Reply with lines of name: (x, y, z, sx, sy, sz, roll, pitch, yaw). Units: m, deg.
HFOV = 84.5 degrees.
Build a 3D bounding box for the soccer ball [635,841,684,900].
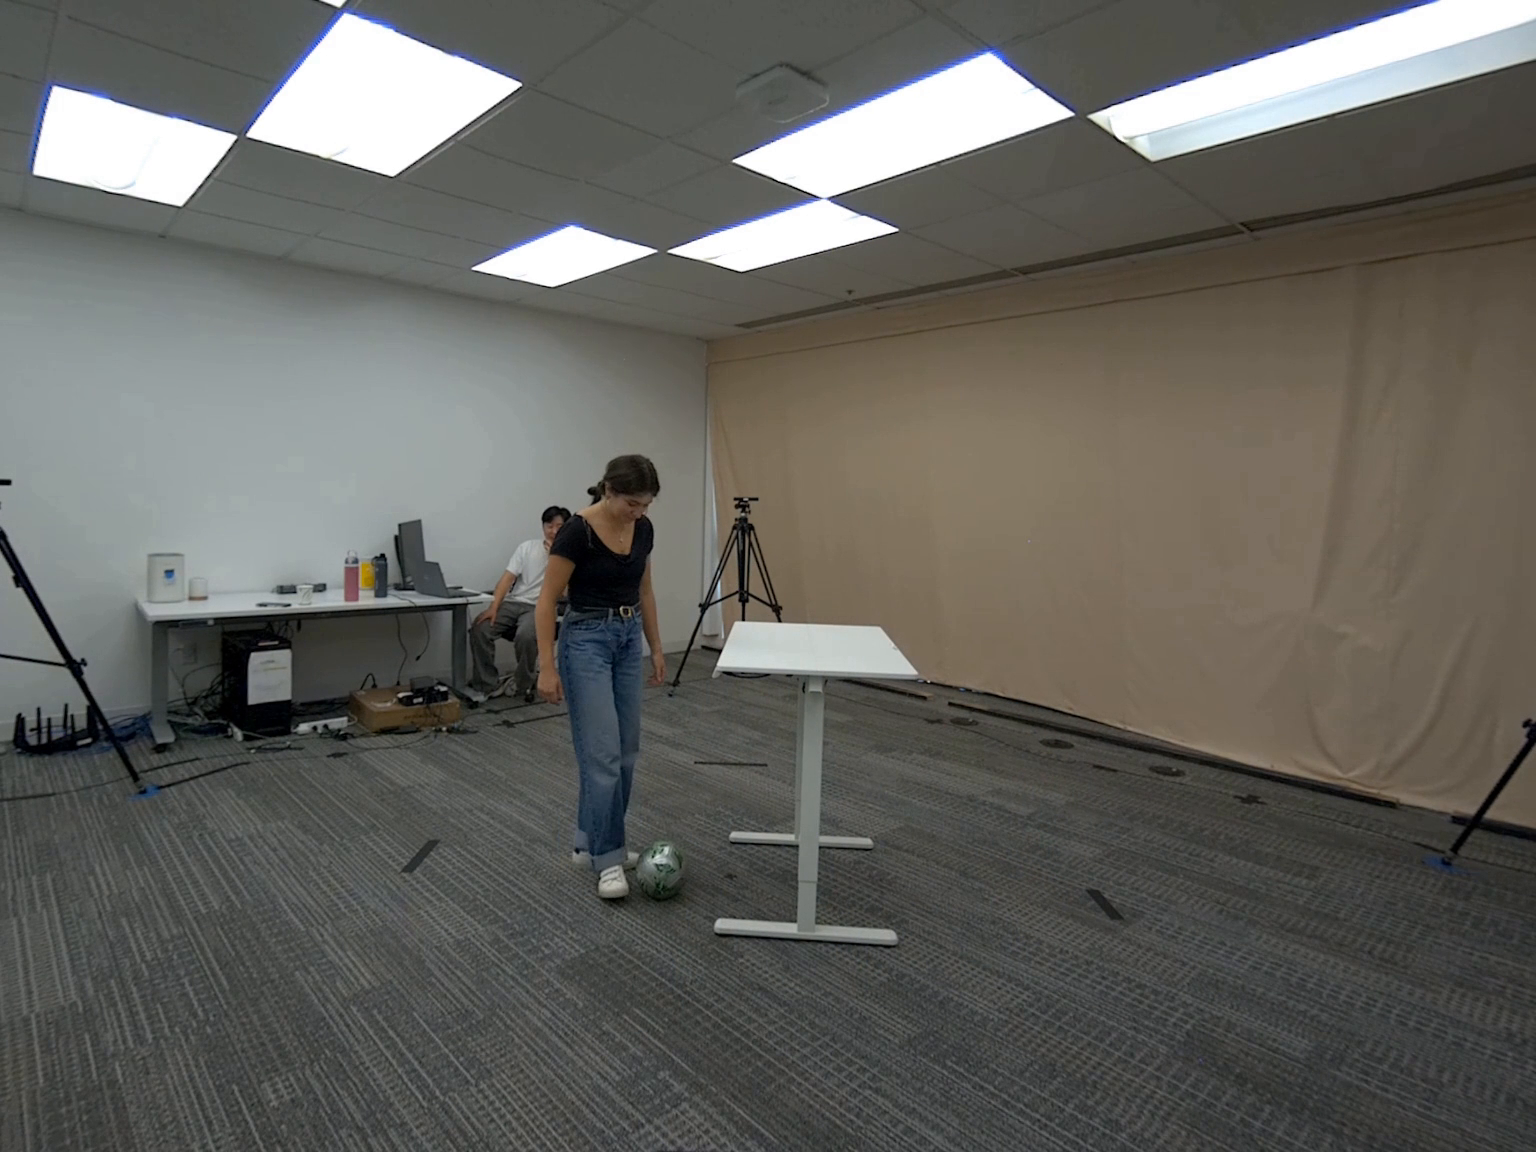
soccer ball: (-0.372, 1.032, 2.920, 0.187, 0.187, 0.188, 1, 4, -1)
